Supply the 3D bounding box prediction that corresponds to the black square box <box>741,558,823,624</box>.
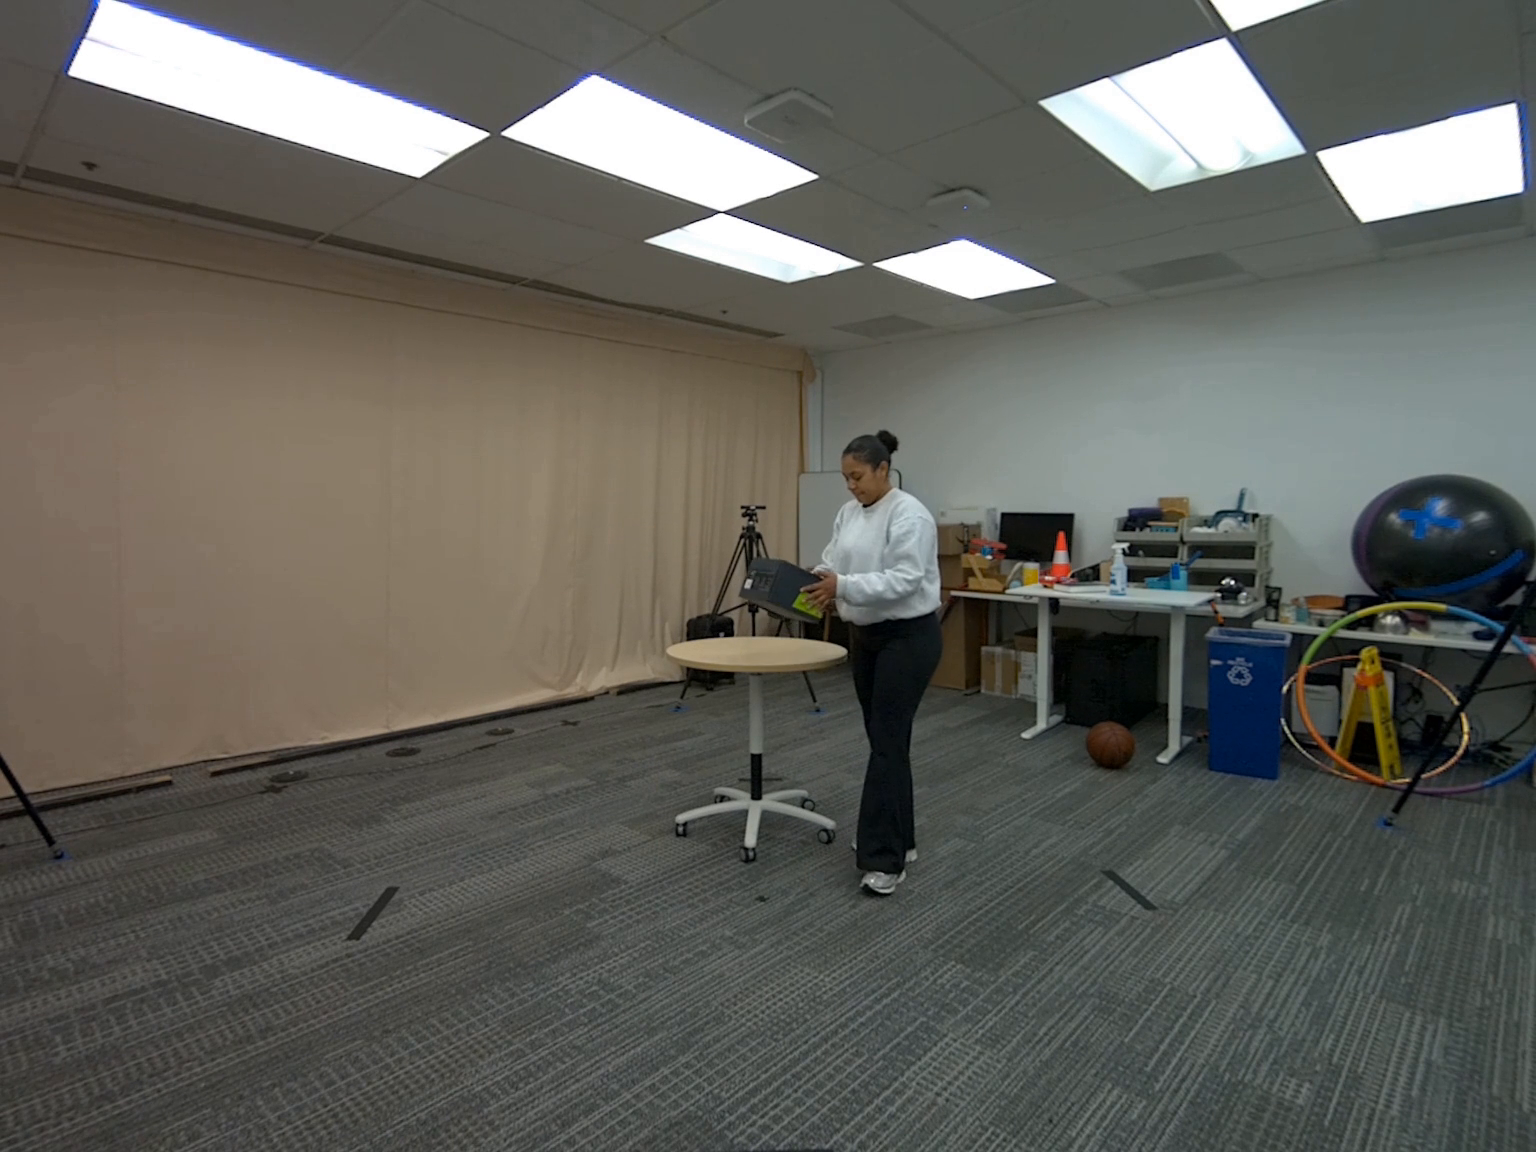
[{"bbox_3d":[0.062,0.060,3.018,0.221,0.156,0.223,24,-8,-27],"label":"black square box"}]
